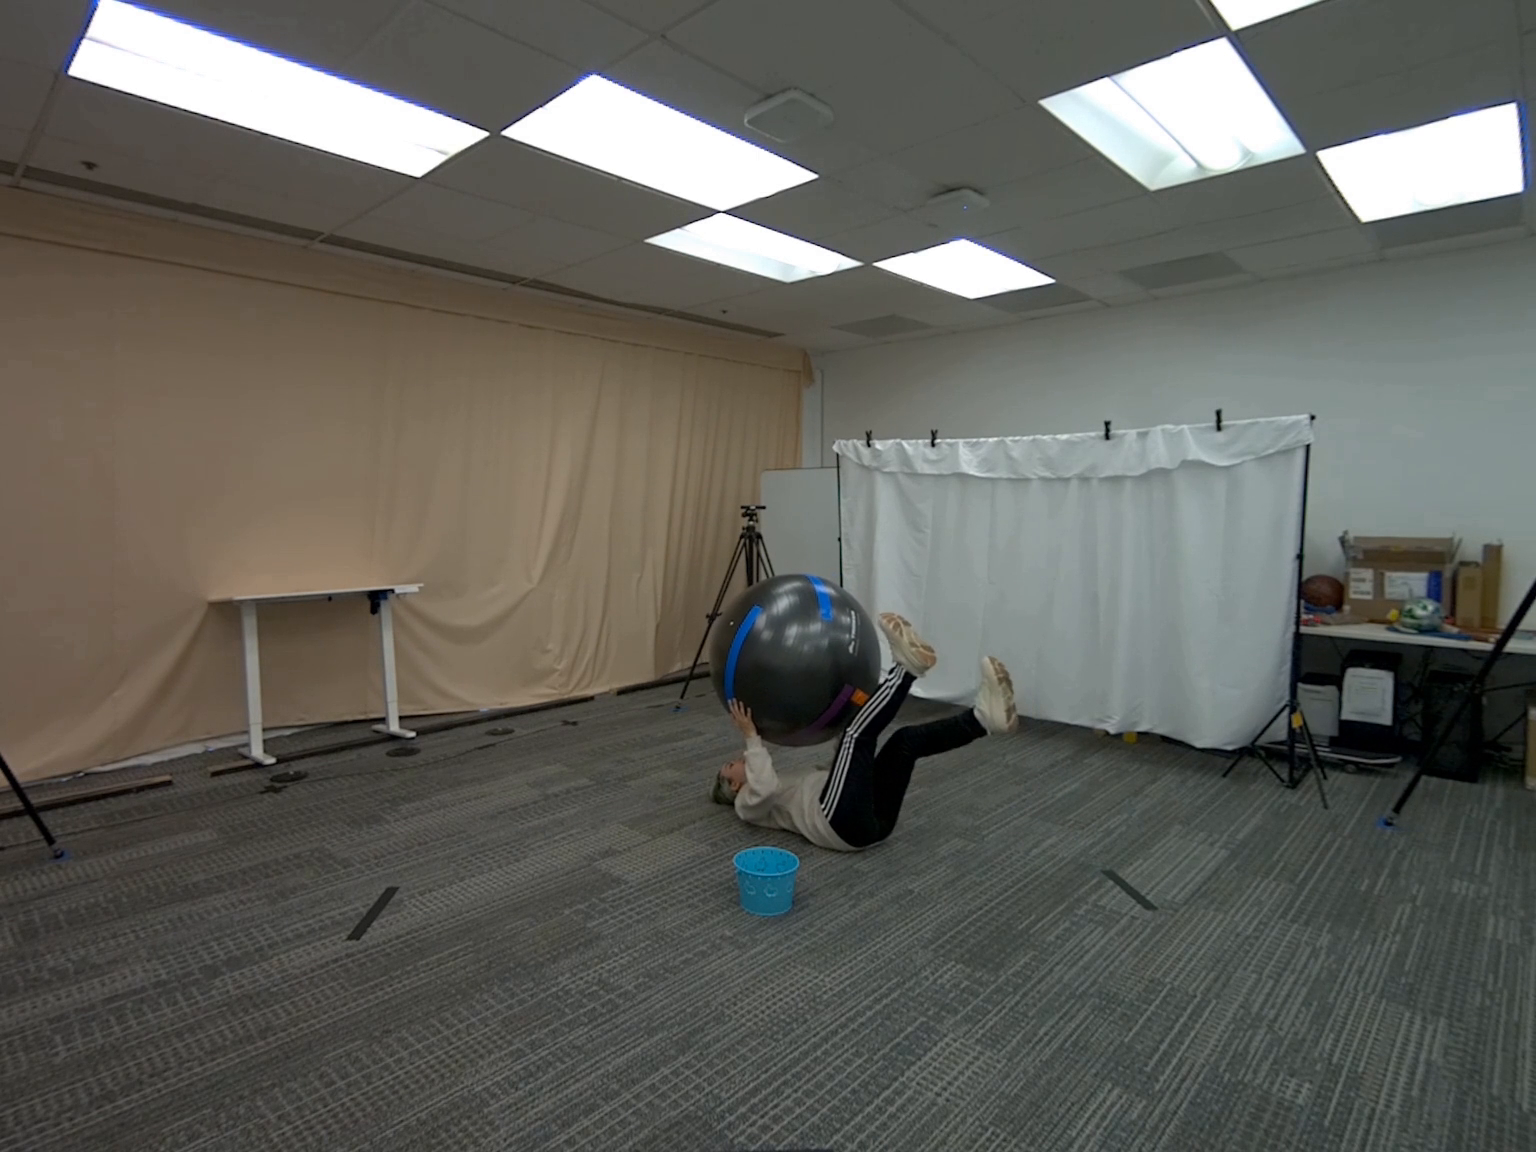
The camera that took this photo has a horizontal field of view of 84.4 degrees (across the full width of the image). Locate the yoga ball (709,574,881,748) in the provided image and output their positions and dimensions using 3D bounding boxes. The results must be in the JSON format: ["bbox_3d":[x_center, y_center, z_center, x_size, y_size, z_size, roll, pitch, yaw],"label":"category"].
[{"bbox_3d":[0.119,0.369,3.733,0.757,0.756,0.760,0,4,-2],"label":"yoga ball"}]
